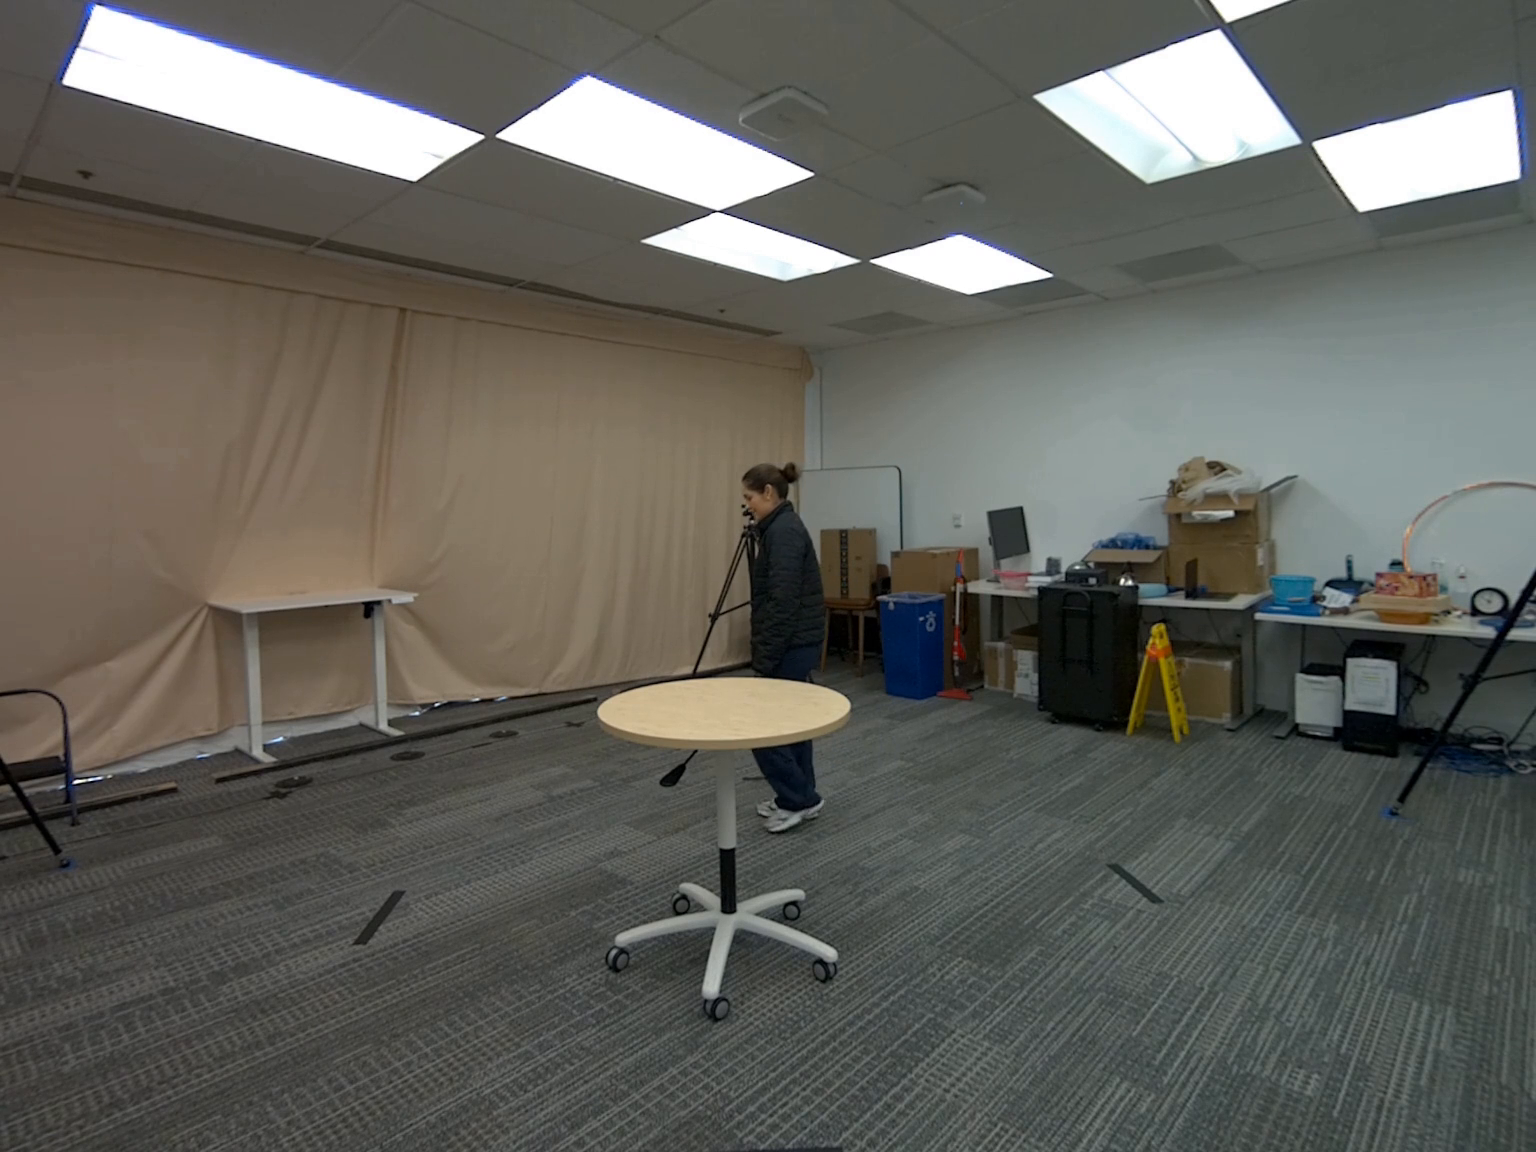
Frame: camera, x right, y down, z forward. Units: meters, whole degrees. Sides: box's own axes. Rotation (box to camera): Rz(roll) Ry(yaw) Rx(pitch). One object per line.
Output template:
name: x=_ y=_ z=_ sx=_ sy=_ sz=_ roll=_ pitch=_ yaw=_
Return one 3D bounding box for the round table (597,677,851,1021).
round table: x=-0.101 y=0.780 z=2.596 sx=0.784 sy=0.784 sz=0.788 roll=-2 pitch=4 yaw=-2
